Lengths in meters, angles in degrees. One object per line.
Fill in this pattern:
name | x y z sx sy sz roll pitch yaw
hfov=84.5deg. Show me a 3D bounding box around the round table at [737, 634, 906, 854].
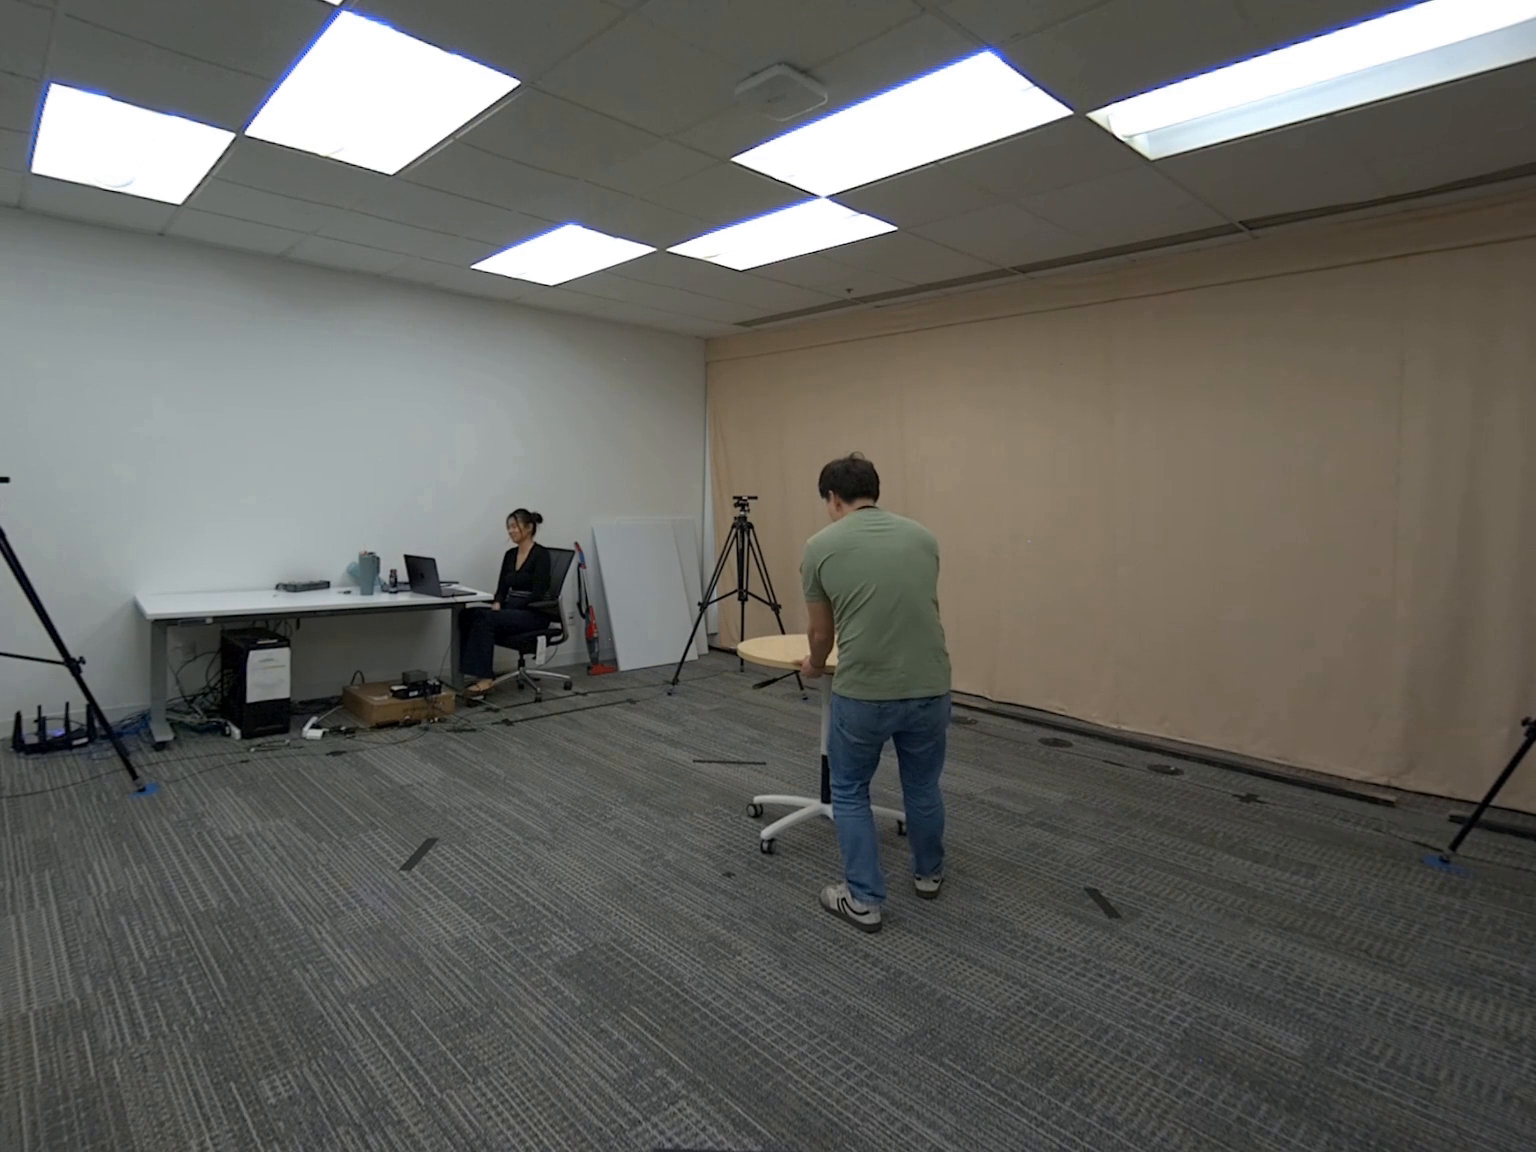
round table | 0.240 0.690 3.485 0.763 0.792 0.766 1 3 -1
